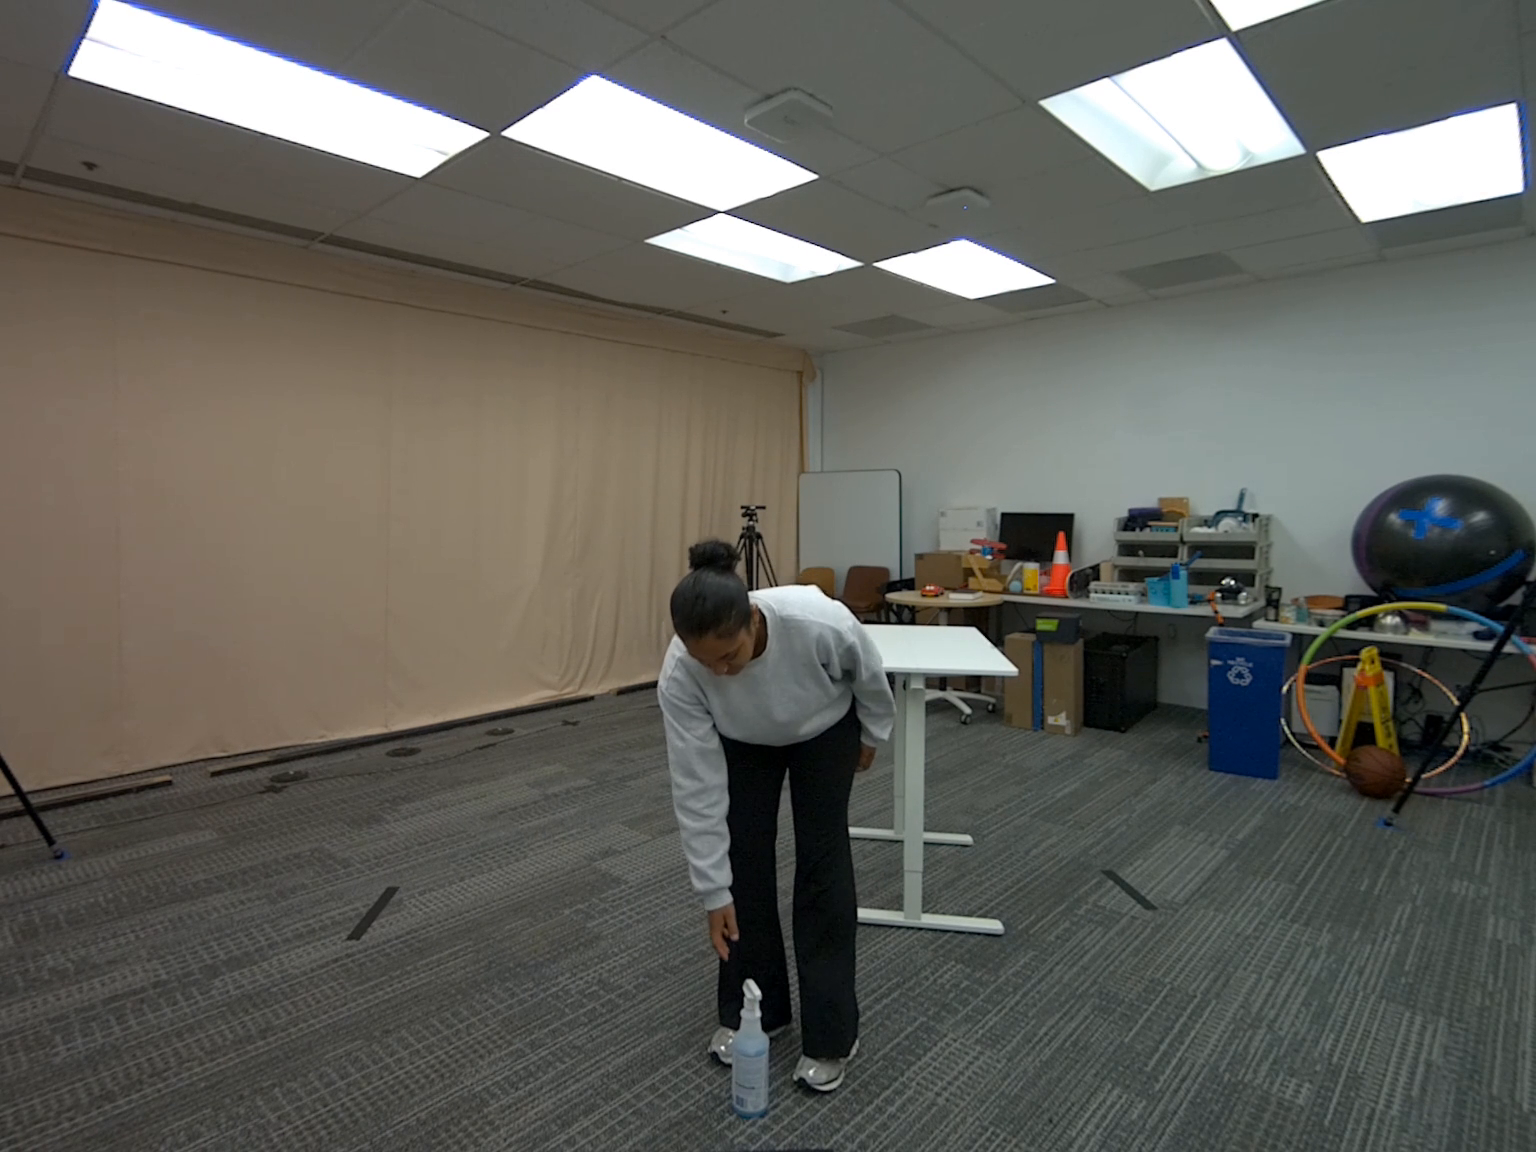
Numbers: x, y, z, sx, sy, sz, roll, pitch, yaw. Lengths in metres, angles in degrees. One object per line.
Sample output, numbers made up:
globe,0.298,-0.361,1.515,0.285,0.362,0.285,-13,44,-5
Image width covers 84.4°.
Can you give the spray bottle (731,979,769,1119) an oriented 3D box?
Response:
spray bottle,-0.036,1.083,1.948,0.088,0.296,0.089,0,5,11
